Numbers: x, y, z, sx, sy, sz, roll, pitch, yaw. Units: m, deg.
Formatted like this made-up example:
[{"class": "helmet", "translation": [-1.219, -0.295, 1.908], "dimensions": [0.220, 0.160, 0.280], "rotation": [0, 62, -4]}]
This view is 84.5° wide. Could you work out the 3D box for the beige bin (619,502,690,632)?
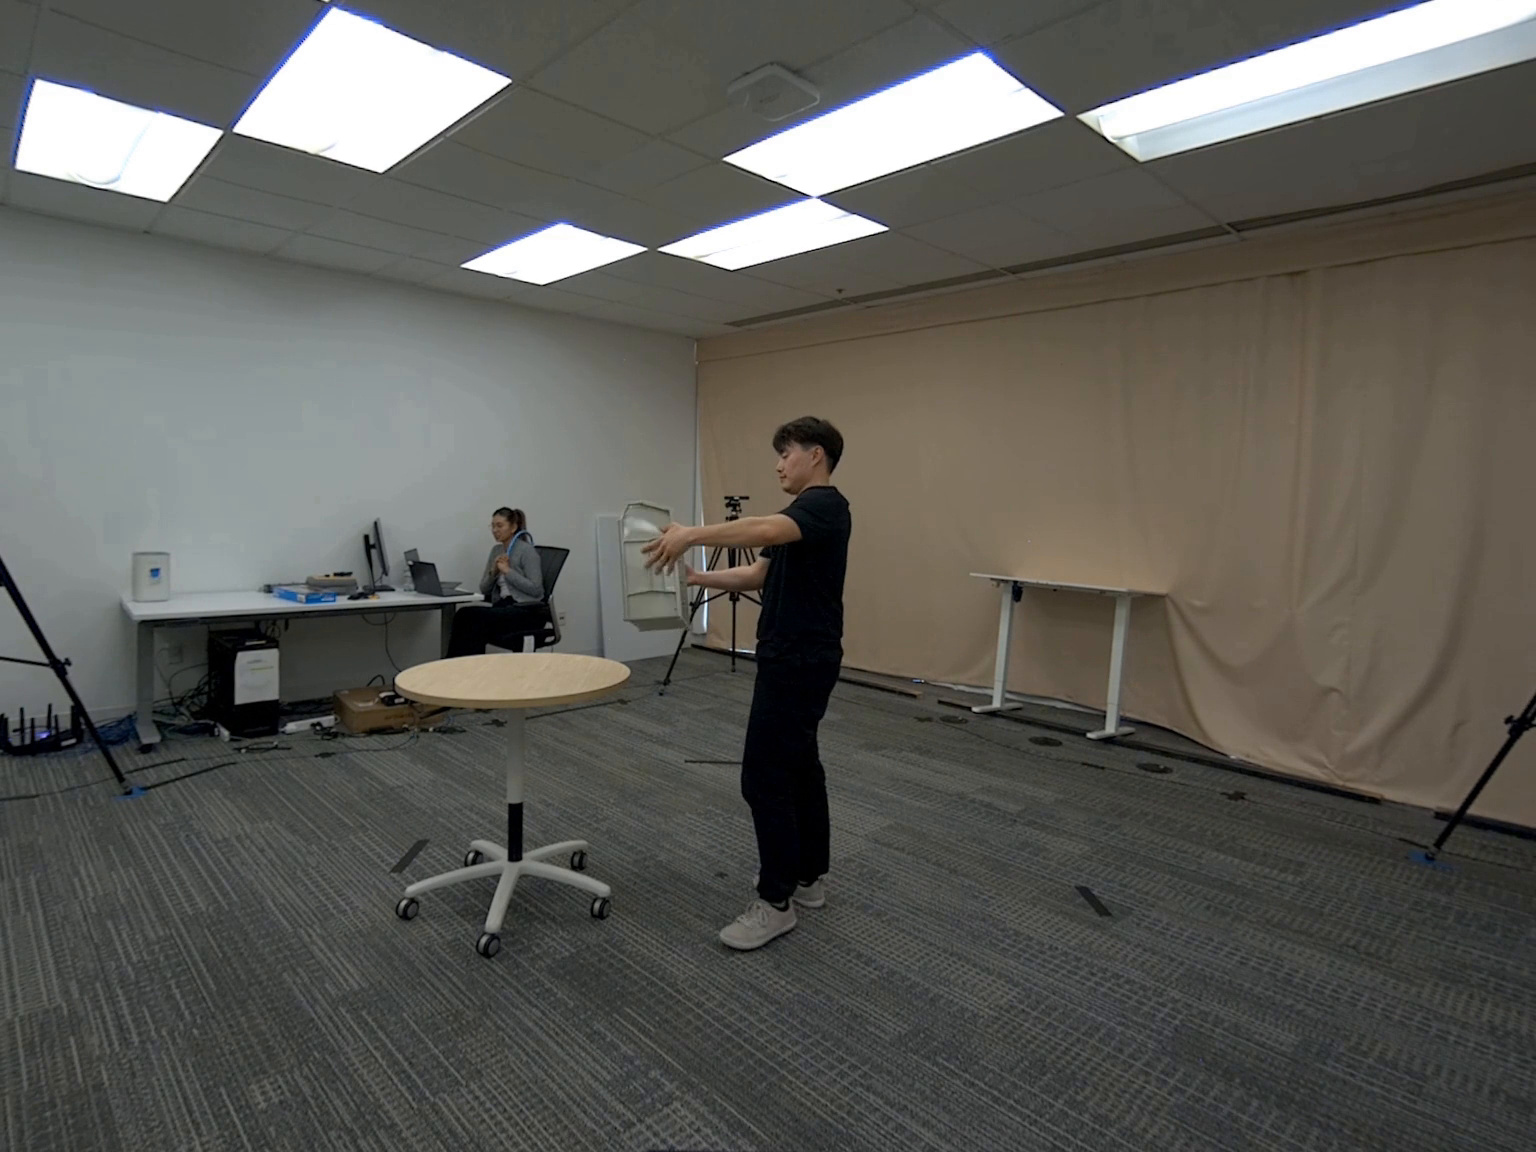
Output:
[{"class": "beige bin", "translation": [-0.384, -0.020, 2.767], "dimensions": [0.188, 0.380, 0.420], "rotation": [-3, -8, -4]}]
